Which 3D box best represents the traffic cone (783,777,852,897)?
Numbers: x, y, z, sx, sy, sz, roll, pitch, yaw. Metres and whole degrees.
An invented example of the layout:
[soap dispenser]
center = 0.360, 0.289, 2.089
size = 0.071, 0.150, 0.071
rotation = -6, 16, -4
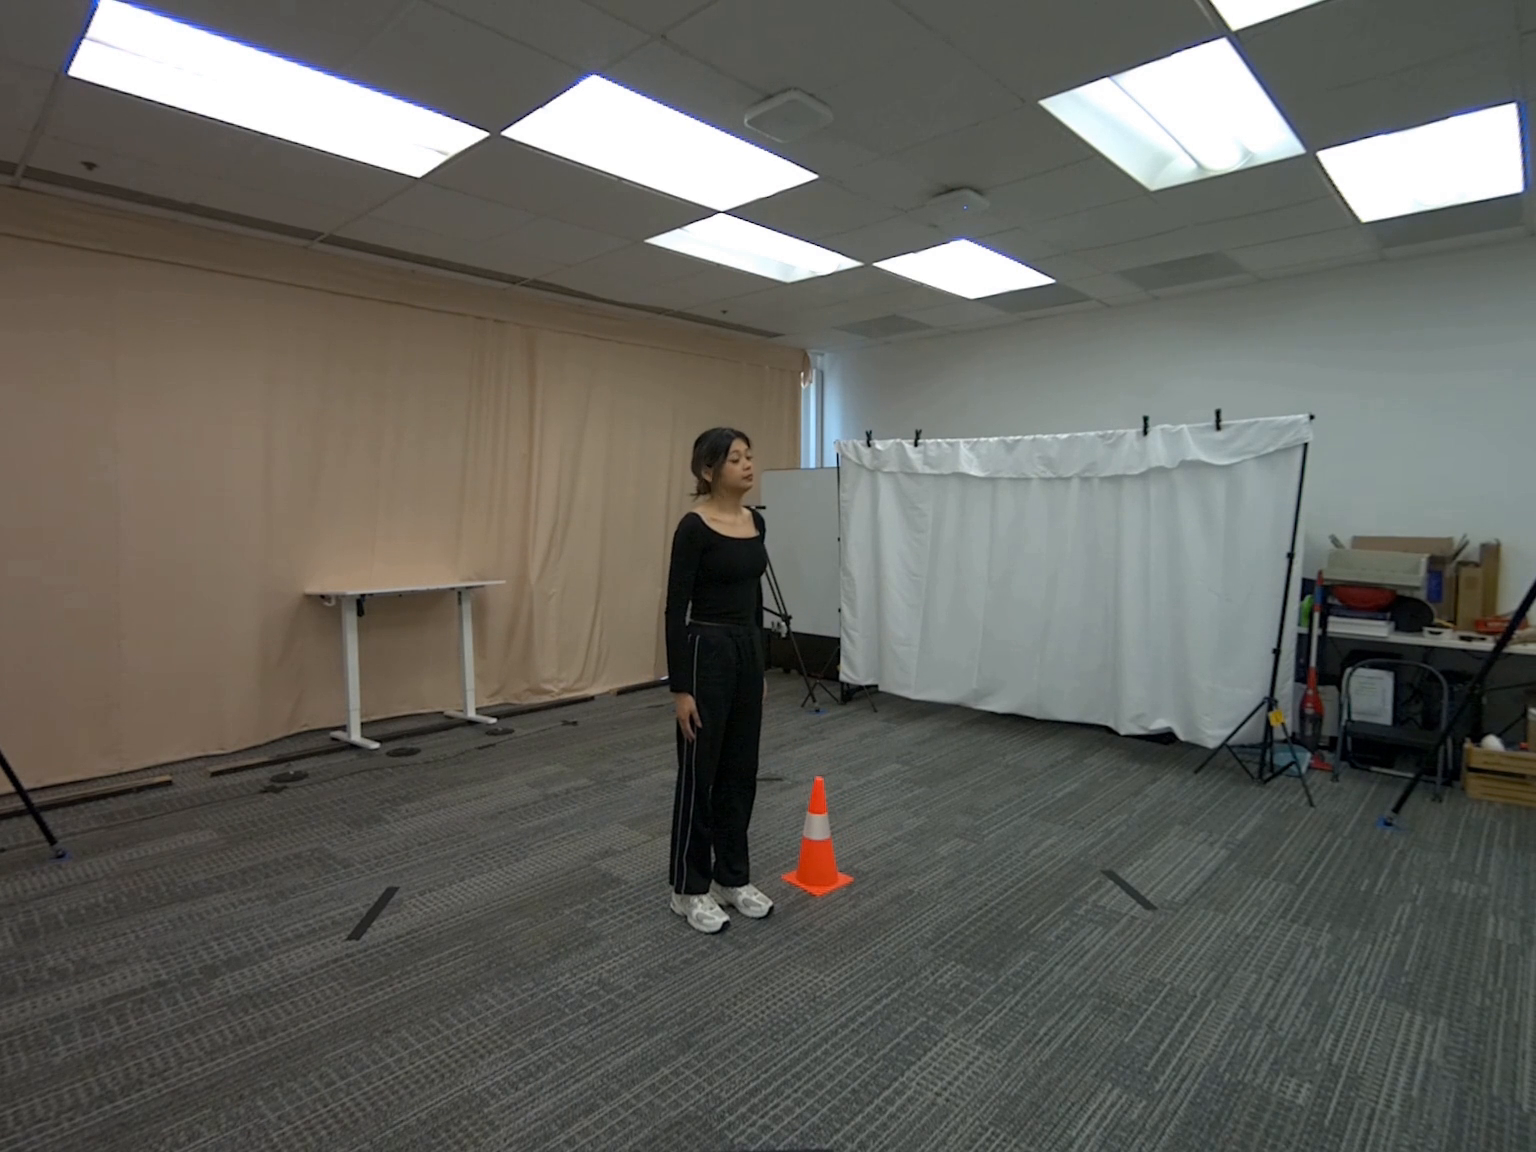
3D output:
[traffic cone]
center = 0.190, 0.947, 3.126
size = 0.197, 0.383, 0.211
rotation = -2, 5, -35
